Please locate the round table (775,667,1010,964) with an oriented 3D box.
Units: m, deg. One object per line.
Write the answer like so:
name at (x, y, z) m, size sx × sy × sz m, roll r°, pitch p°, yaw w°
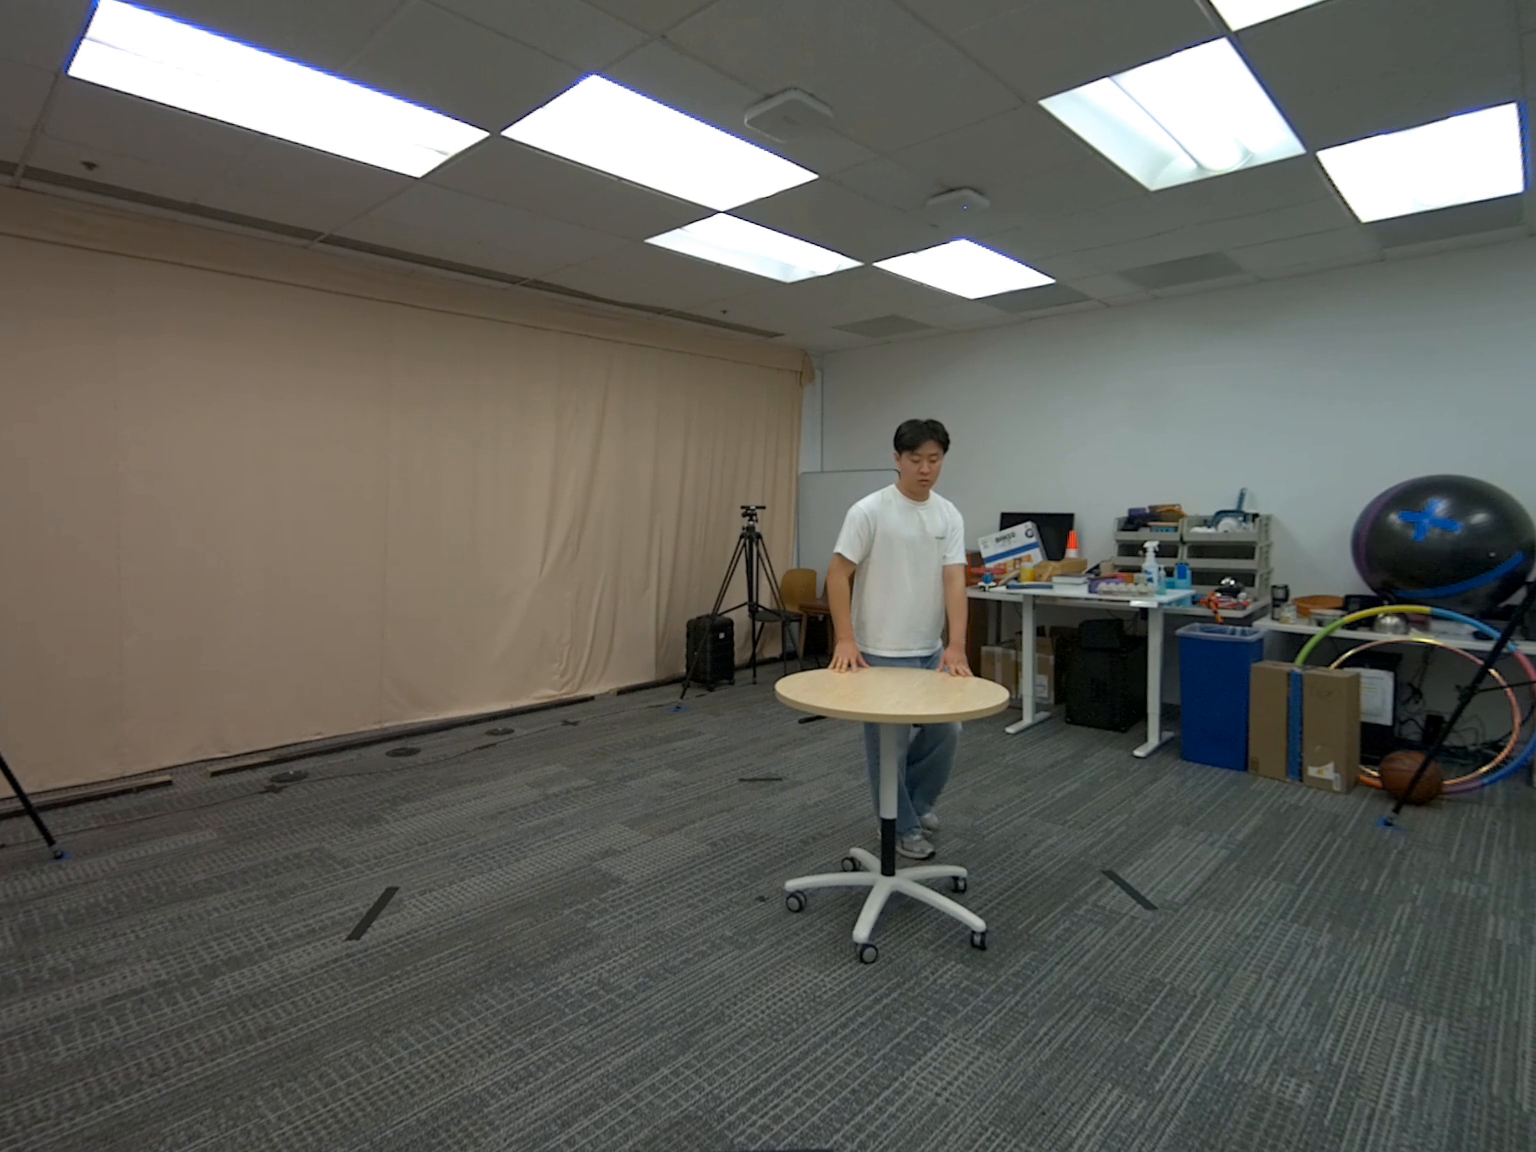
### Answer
round table at (0.408, 0.767, 2.850) m, size 0.763 × 0.792 × 0.767 m, roll 0°, pitch 4°, yaw -2°
